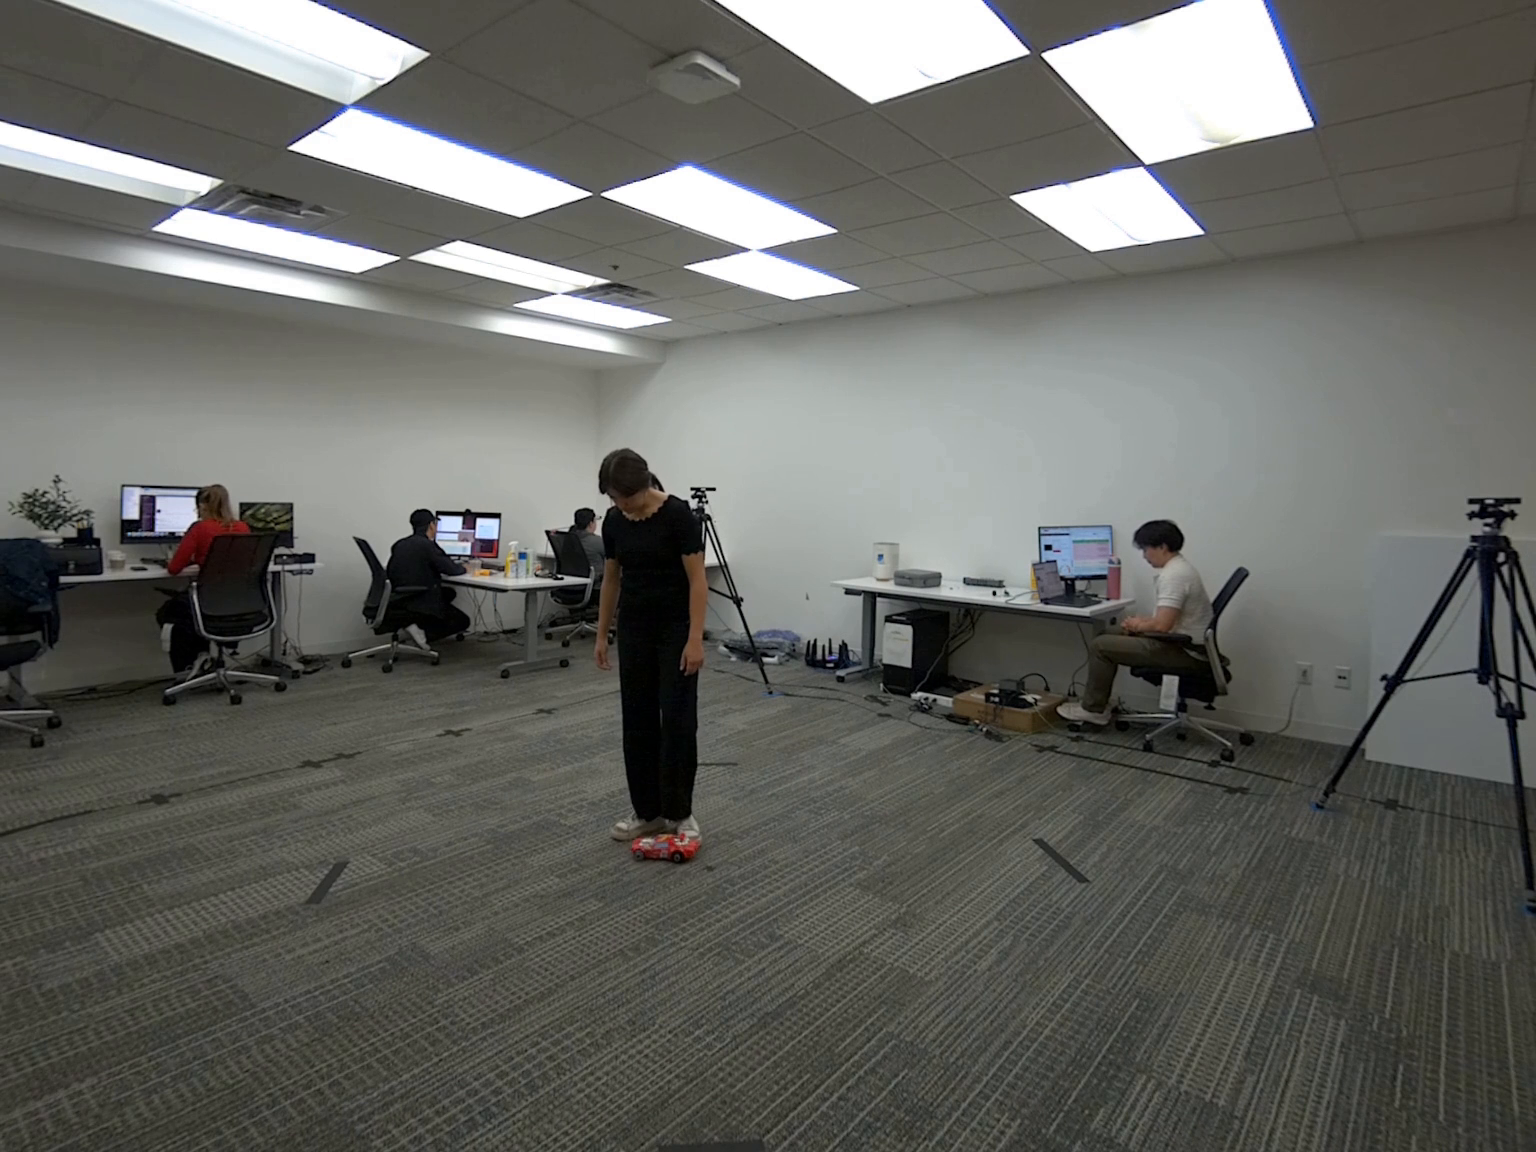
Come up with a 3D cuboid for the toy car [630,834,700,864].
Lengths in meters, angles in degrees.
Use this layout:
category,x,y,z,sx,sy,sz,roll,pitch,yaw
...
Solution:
category,x,y,z,sx,sy,sz,roll,pitch,yaw
toy car,-0.402,1.022,3.197,0.256,0.083,0.130,-9,5,8
